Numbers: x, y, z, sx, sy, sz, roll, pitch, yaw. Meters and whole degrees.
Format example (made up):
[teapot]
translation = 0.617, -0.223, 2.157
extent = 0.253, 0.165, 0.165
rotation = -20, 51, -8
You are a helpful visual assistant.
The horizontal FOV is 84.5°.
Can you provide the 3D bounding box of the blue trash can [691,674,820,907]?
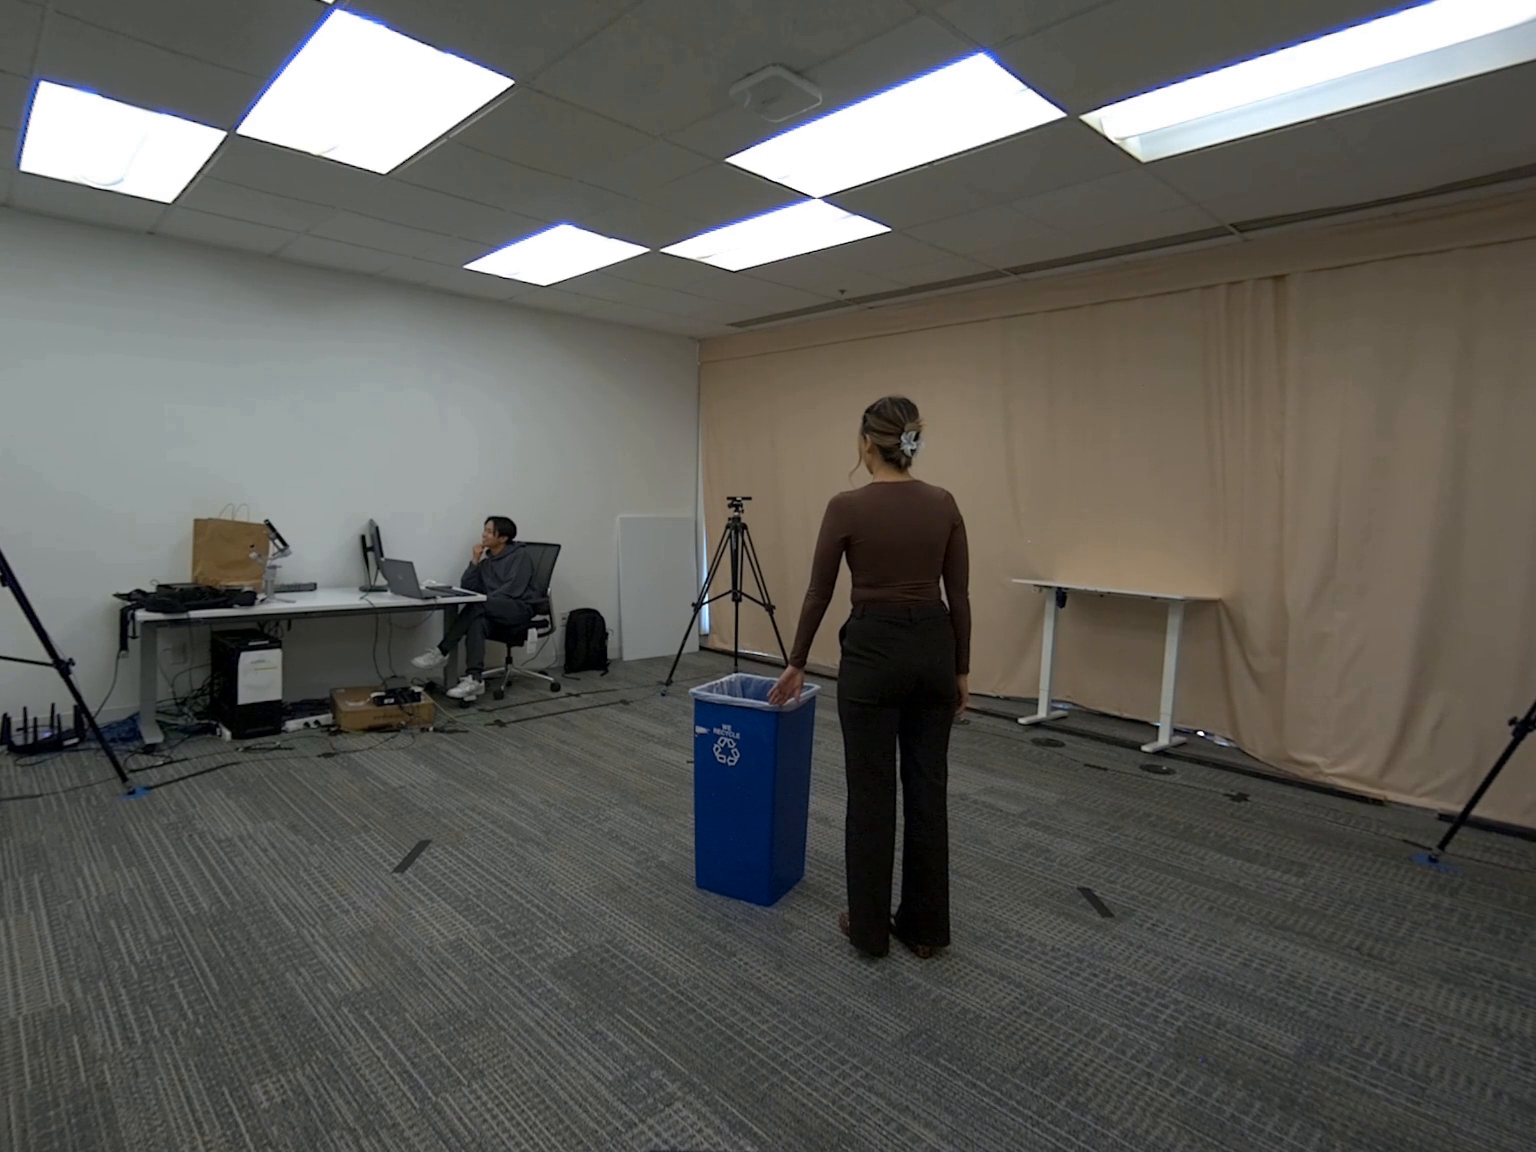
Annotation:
[blue trash can]
translation = -0.054, 0.755, 3.045
extent = 0.382, 0.712, 0.371
rotation = 3, 4, 28
